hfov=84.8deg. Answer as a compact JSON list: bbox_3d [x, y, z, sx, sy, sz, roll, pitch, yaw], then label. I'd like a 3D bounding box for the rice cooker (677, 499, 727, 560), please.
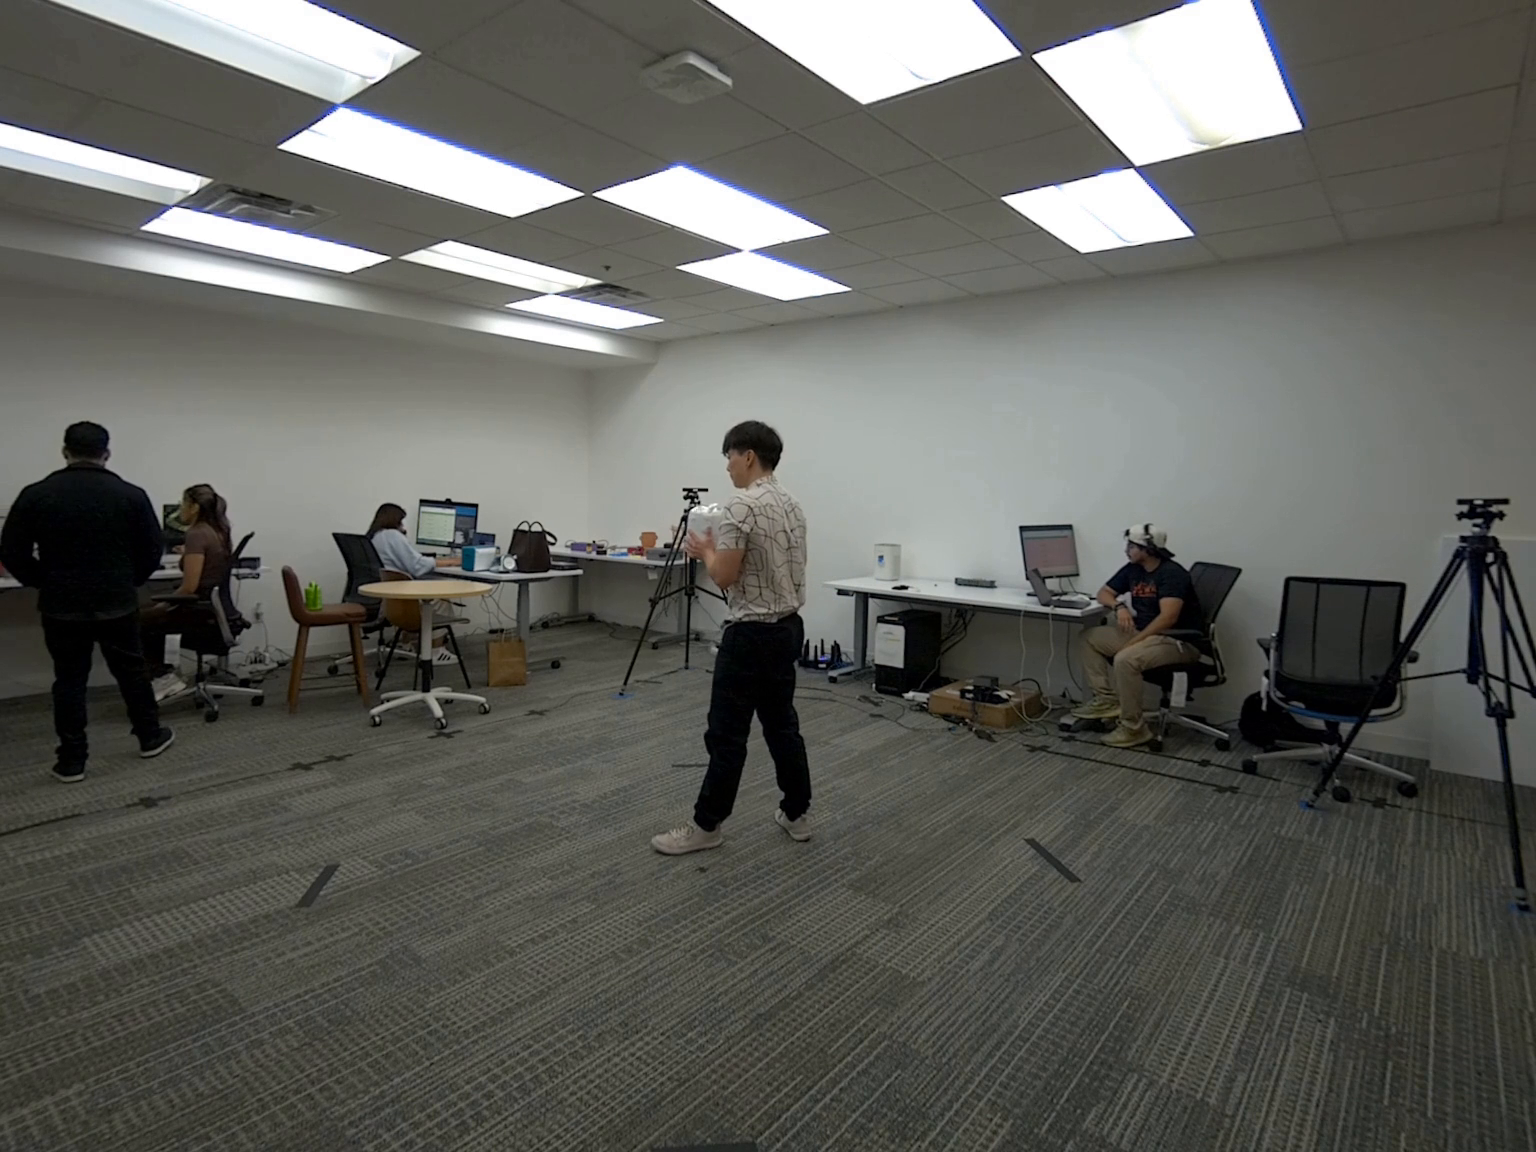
[{"bbox_3d":[-0.235,-0.194,3.541,0.221,0.231,0.218,8,7,11],"label":"rice cooker"}]
